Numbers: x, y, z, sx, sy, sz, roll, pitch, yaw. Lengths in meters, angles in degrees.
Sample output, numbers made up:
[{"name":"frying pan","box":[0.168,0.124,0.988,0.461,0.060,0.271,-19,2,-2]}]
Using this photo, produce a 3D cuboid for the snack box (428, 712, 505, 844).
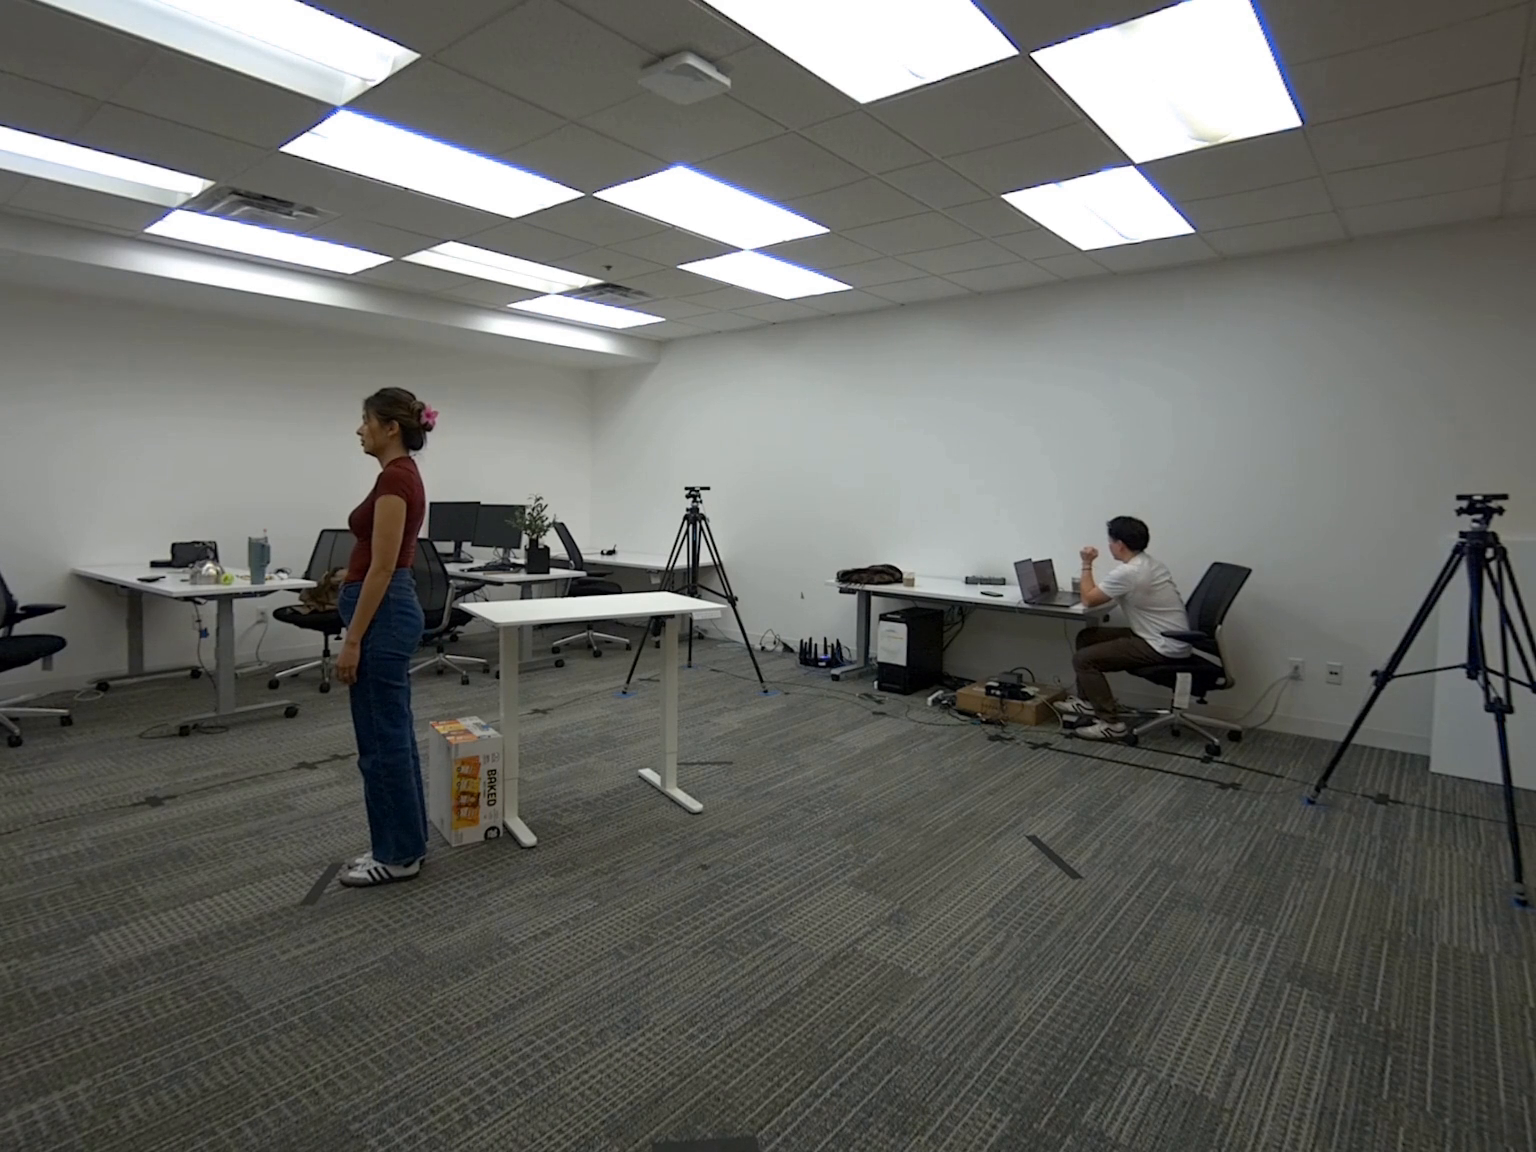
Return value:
[{"name":"snack box","box":[-1.237,0.809,3.434,0.200,0.404,0.351,-1,5,-35]}]
